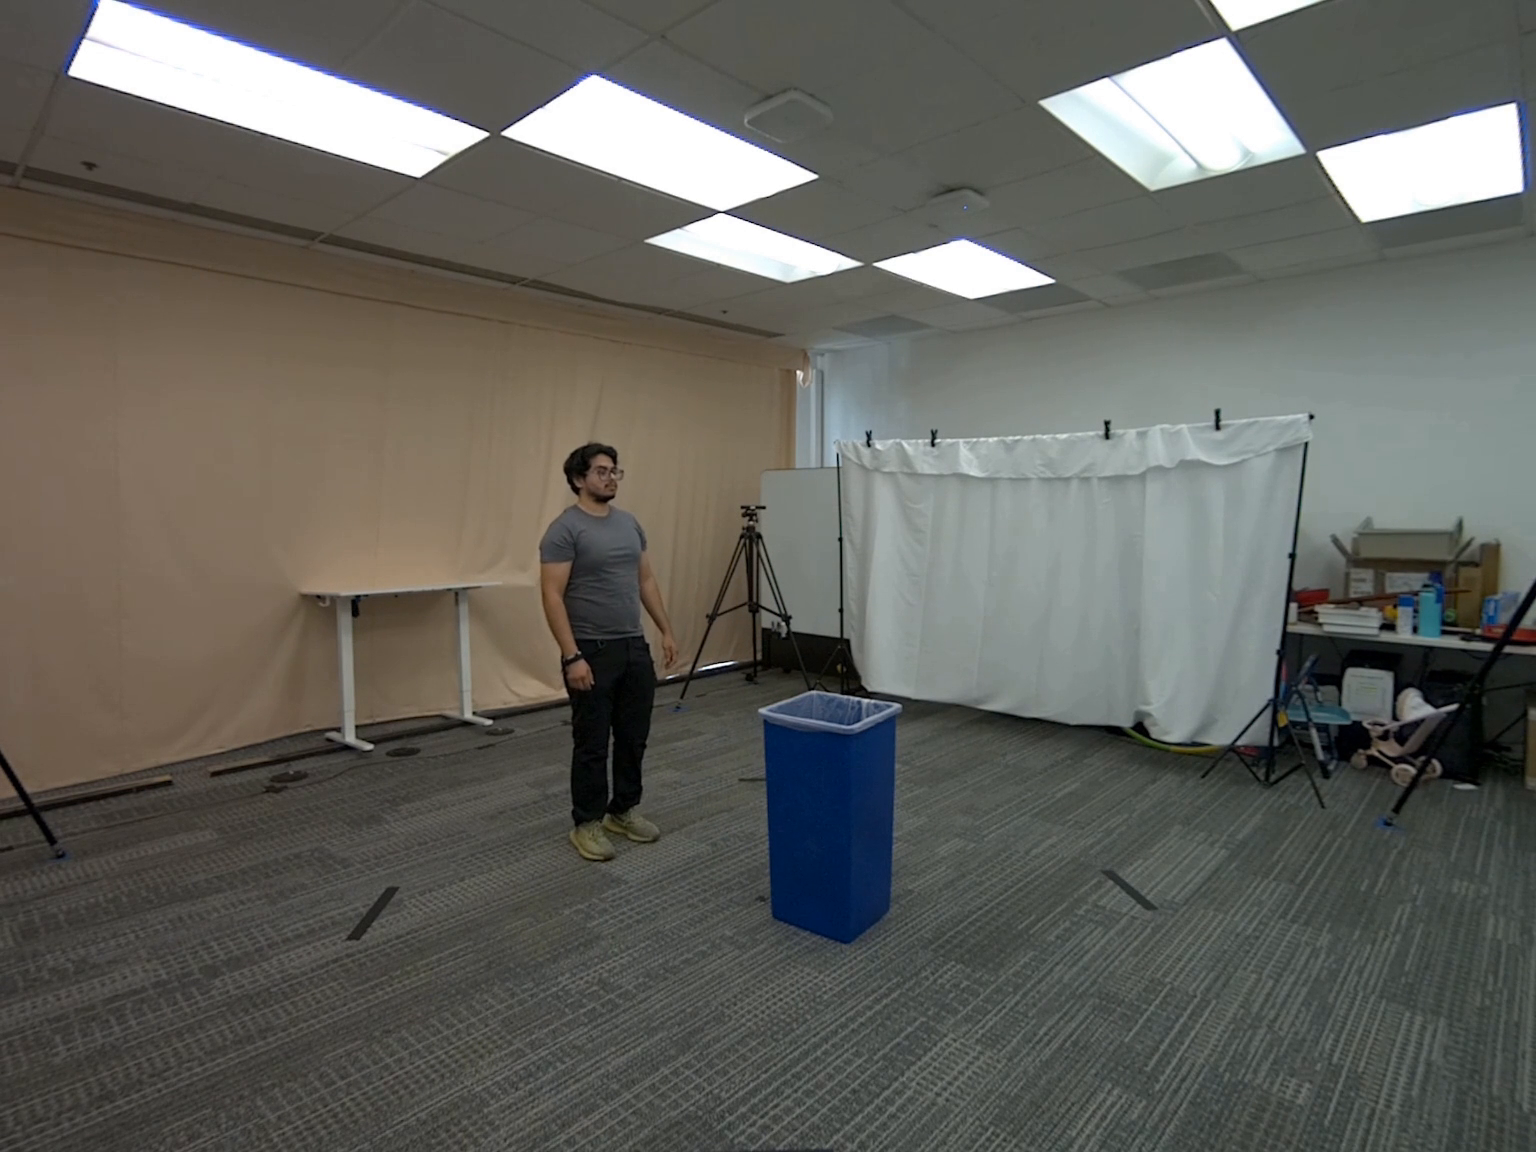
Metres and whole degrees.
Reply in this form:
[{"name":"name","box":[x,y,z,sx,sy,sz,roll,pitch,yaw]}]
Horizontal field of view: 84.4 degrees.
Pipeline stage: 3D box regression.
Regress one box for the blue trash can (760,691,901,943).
[{"name":"blue trash can","box":[0.215,0.796,2.846,0.390,0.712,0.363,2,4,37]}]
